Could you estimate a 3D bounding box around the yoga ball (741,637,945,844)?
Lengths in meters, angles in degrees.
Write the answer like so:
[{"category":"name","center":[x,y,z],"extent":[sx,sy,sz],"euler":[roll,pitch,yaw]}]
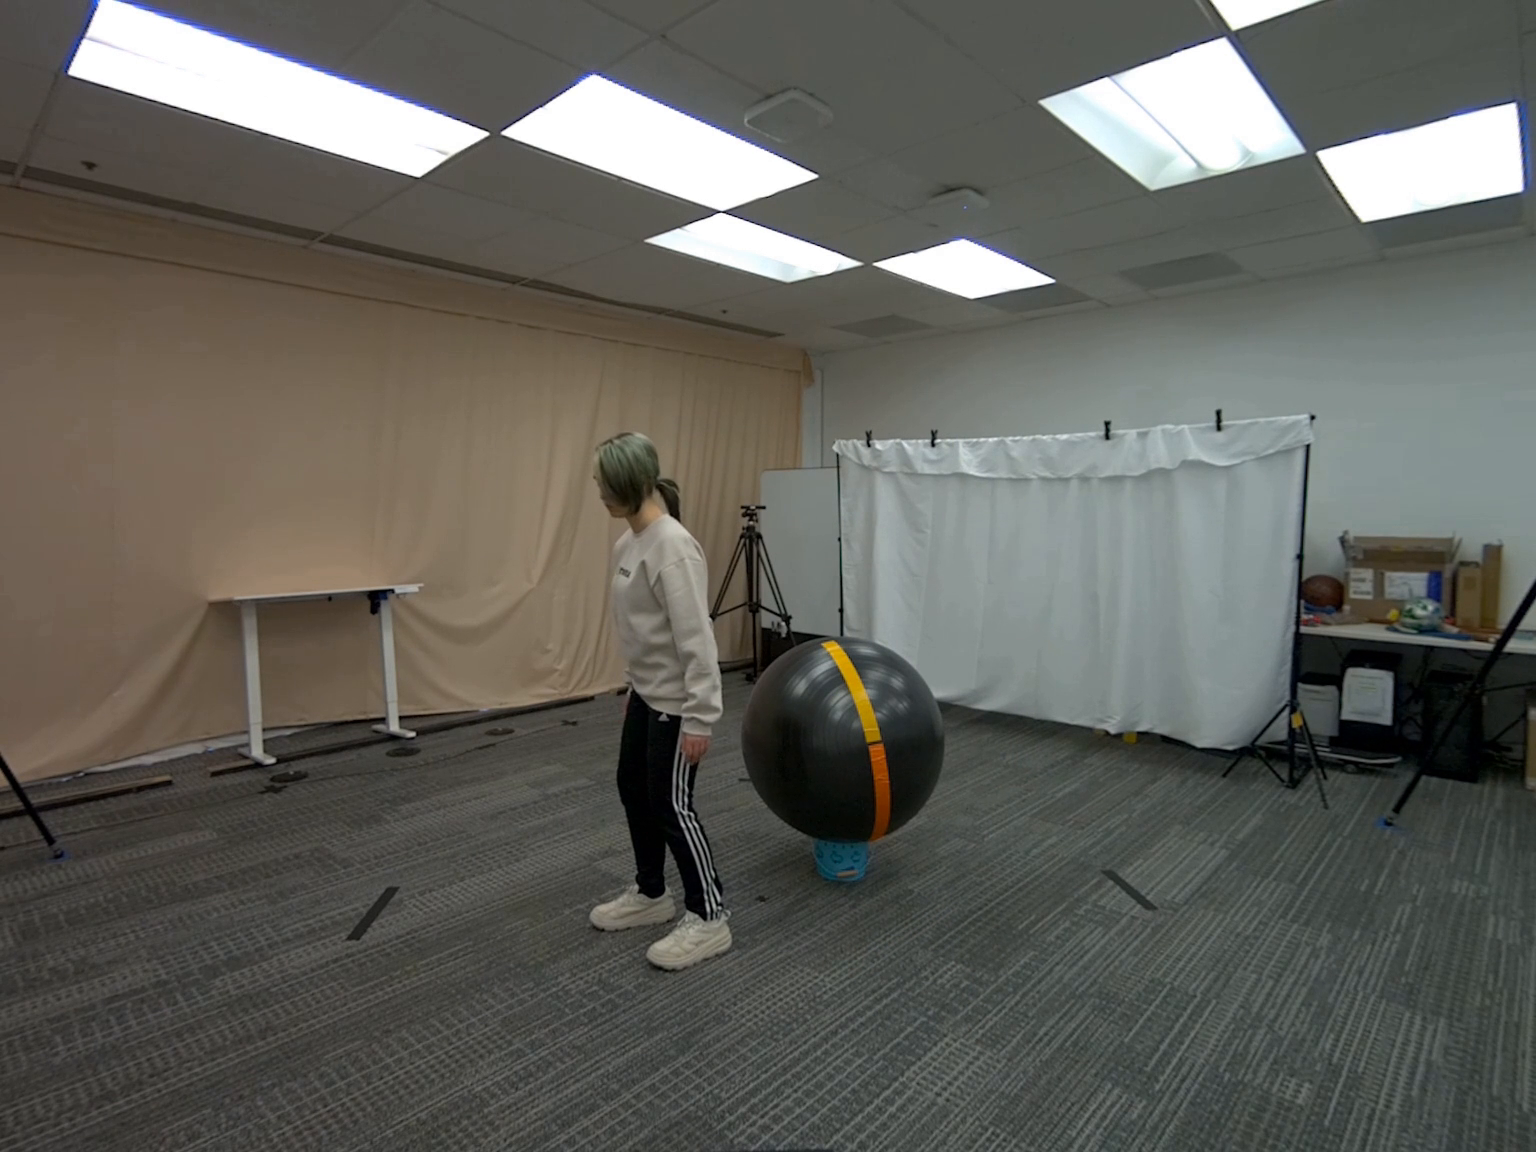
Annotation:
[{"category":"yoga ball","center":[0.281,0.616,3.185],"extent":[0.757,0.756,0.760],"euler":[0,4,-2]}]
